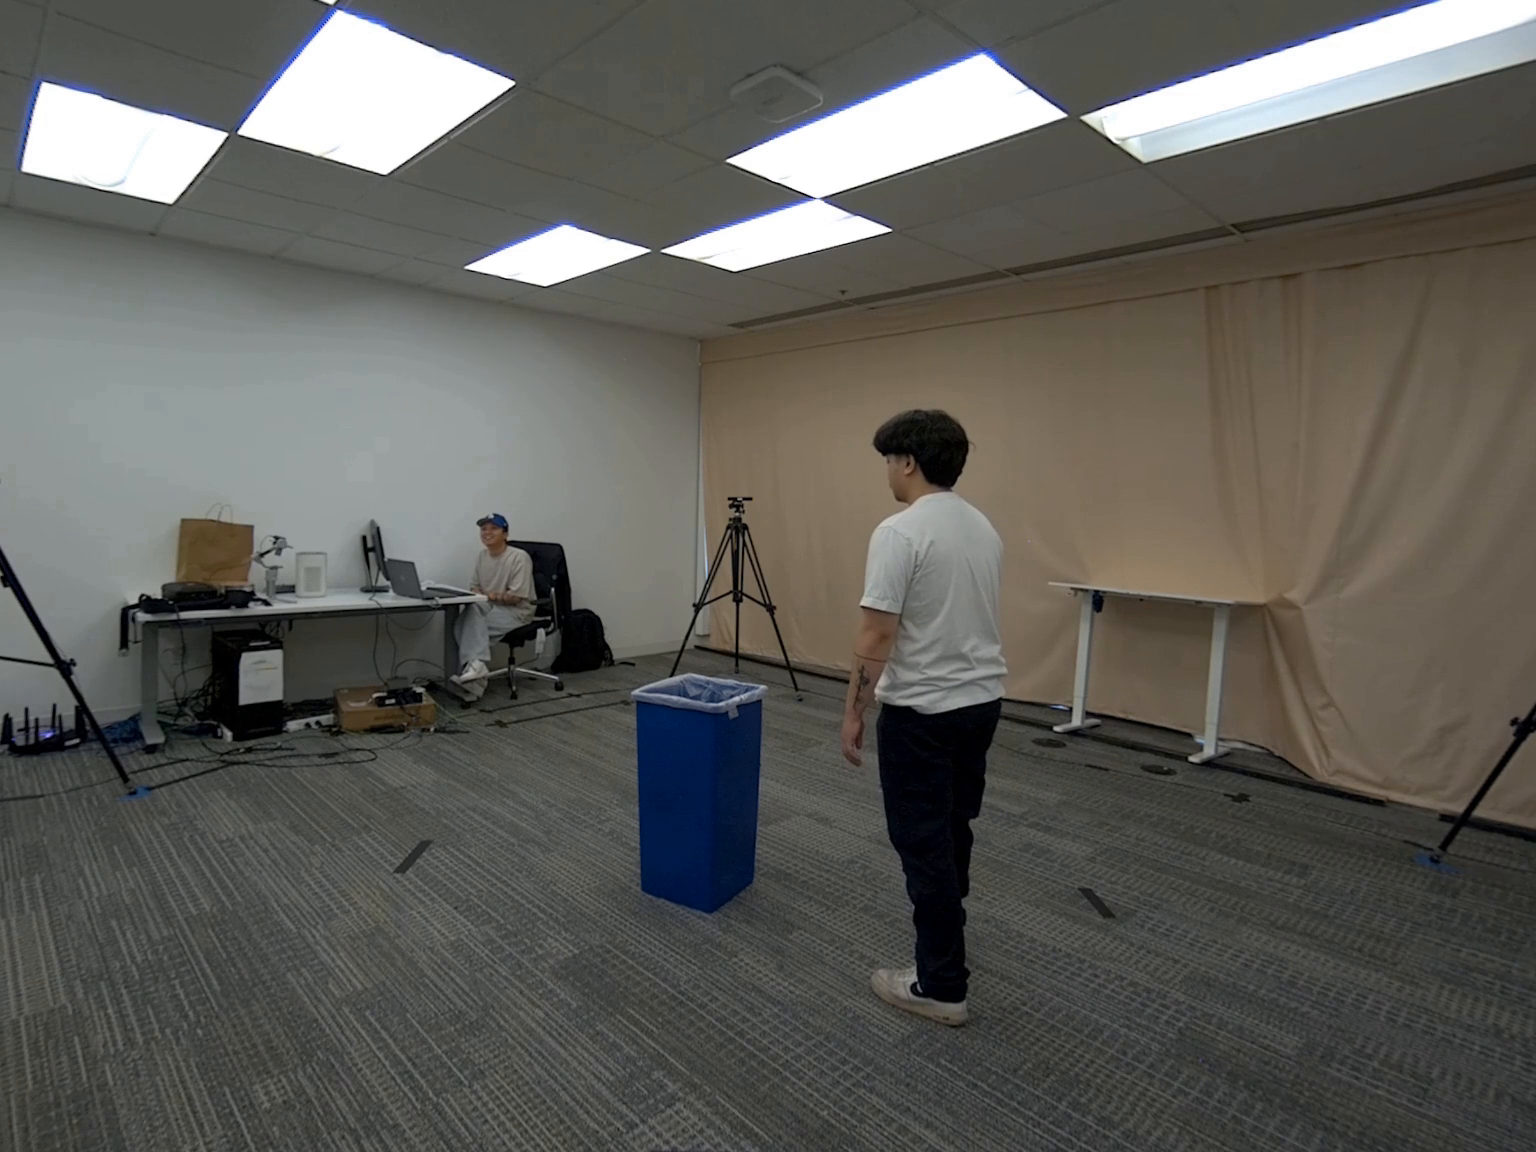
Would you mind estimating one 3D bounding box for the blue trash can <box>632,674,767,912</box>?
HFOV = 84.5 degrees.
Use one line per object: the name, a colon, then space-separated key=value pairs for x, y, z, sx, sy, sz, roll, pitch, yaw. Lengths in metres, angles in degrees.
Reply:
blue trash can: x=-0.256 y=0.755 z=3.003 sx=0.382 sy=0.712 sz=0.371 roll=4 pitch=4 yaw=30
